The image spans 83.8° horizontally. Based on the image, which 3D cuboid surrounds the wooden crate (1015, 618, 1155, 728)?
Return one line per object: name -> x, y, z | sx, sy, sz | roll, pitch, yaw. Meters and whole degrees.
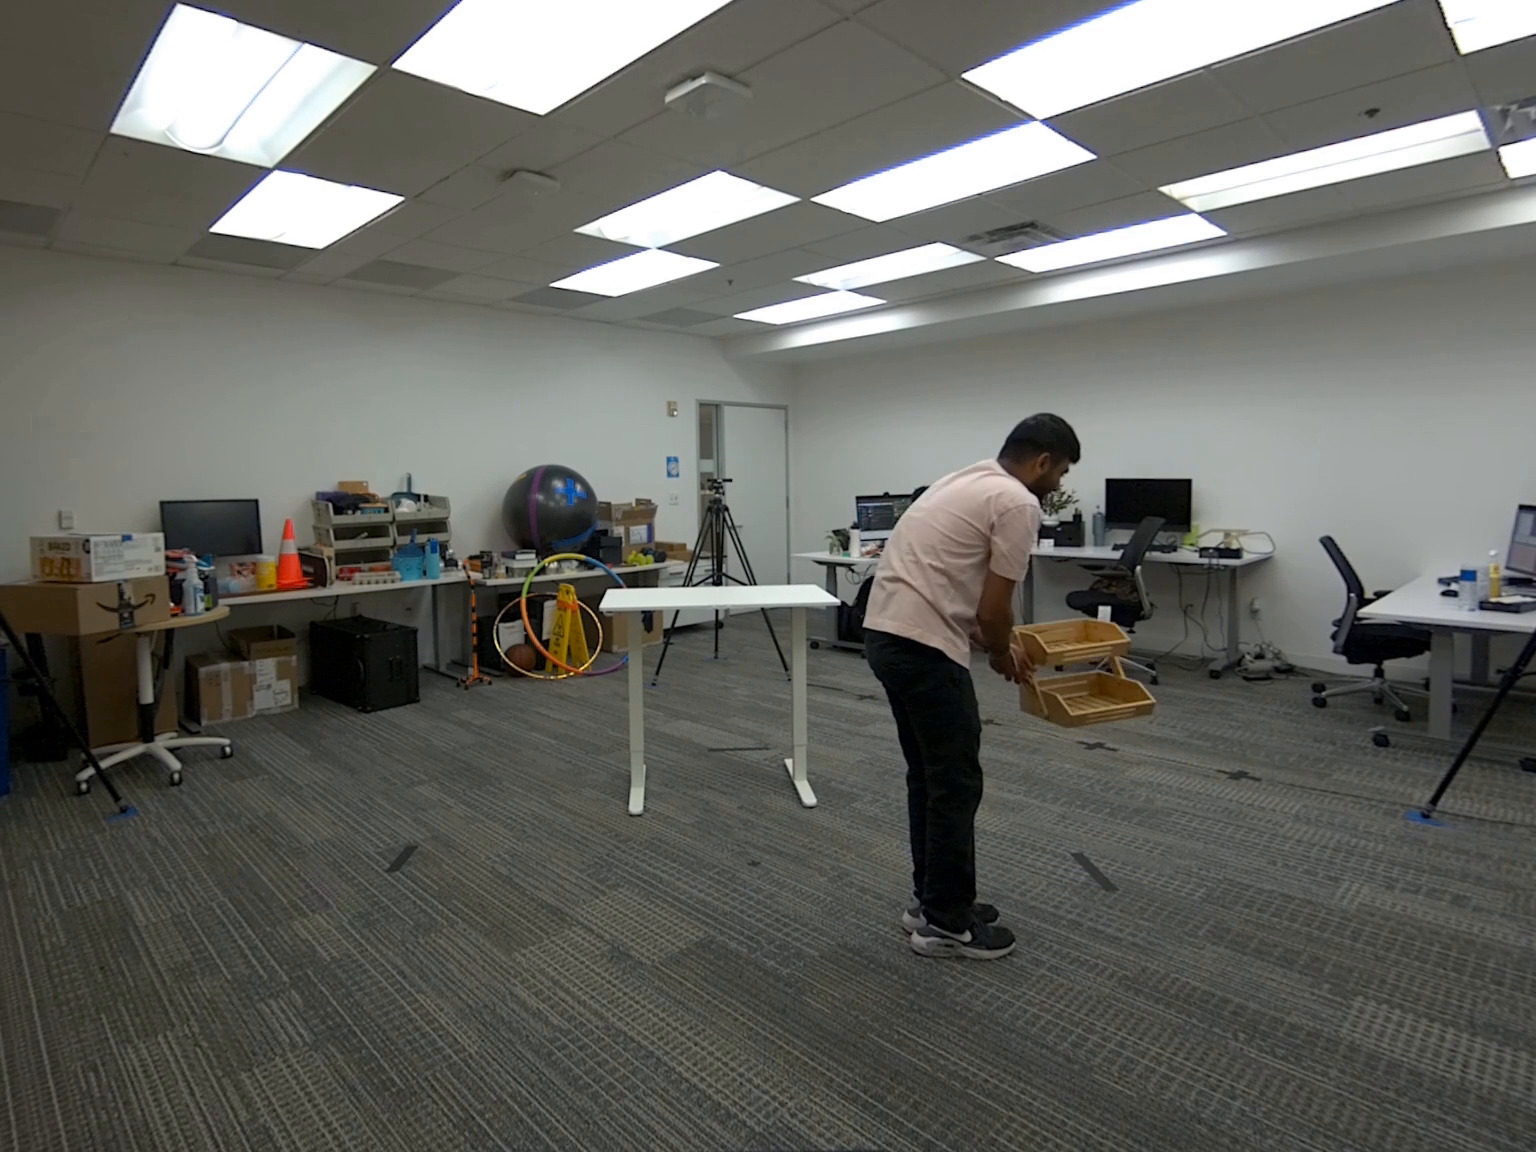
wooden crate -> 0.979, 0.296, 2.663 | 0.320, 0.273, 0.307 | -5, 3, -17
